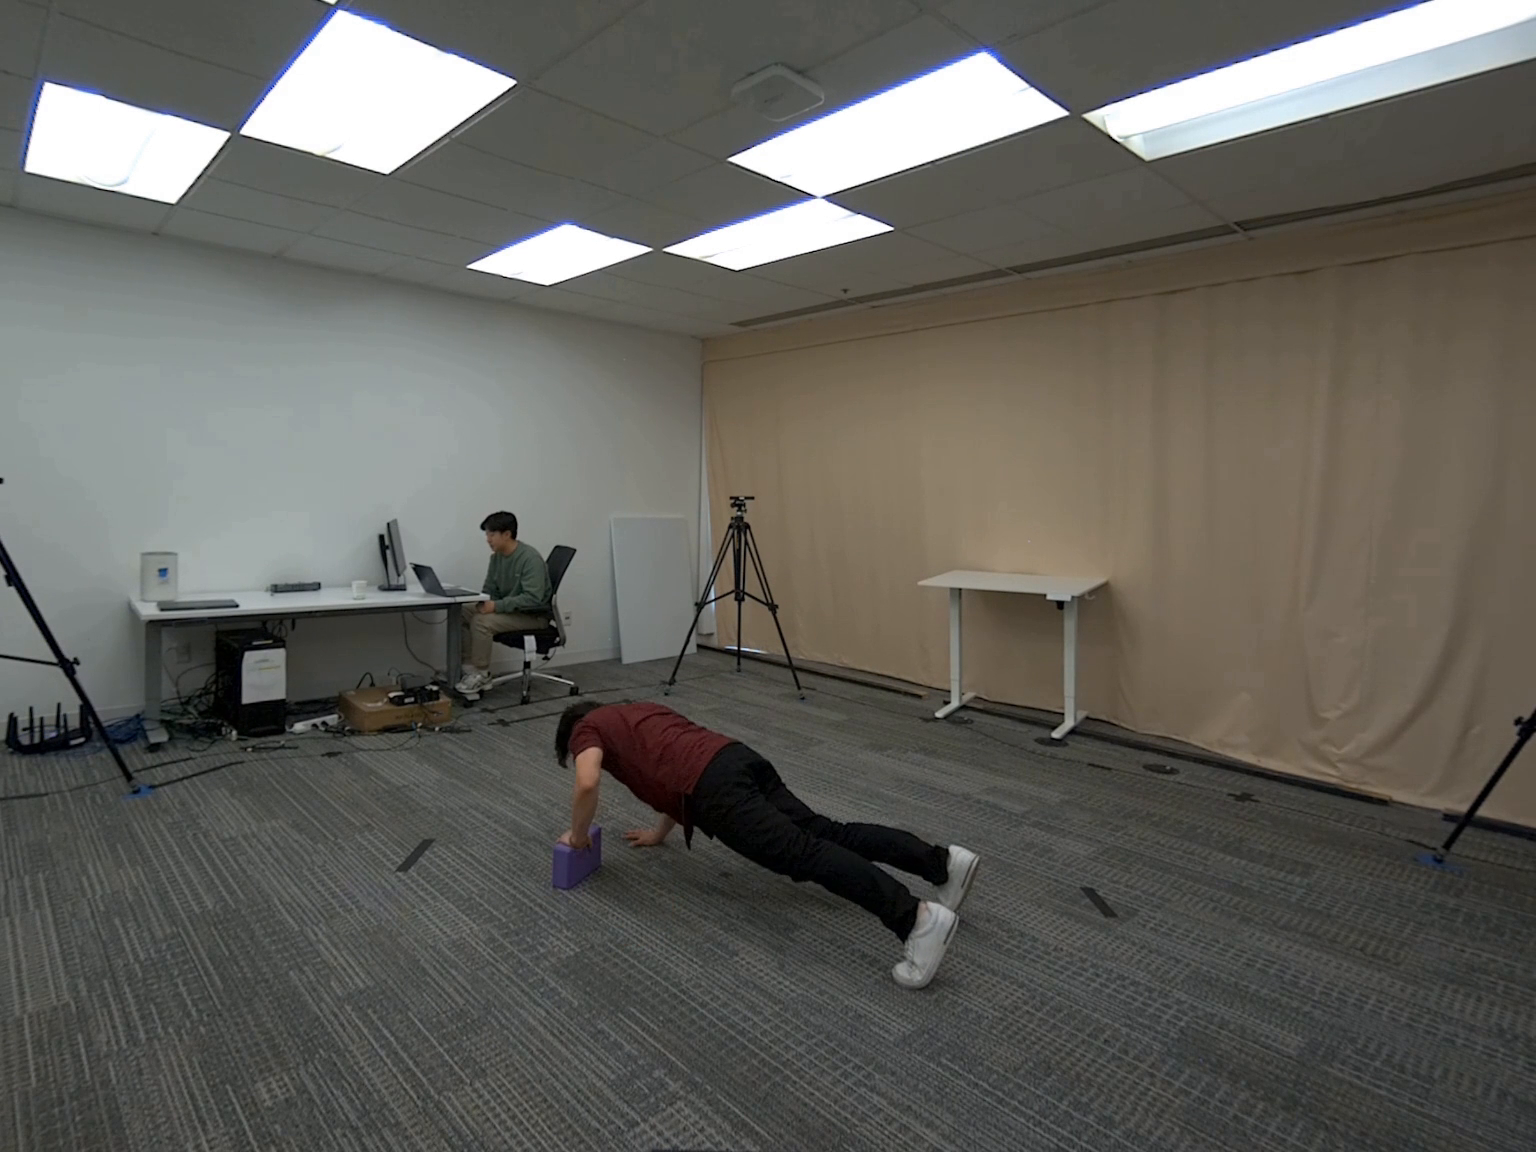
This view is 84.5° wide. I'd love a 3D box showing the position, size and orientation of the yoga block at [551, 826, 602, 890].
[{"bbox_3d":[-0.691,1.013,3.065,0.077,0.148,0.226,3,5,17],"label":"yoga block"}]
